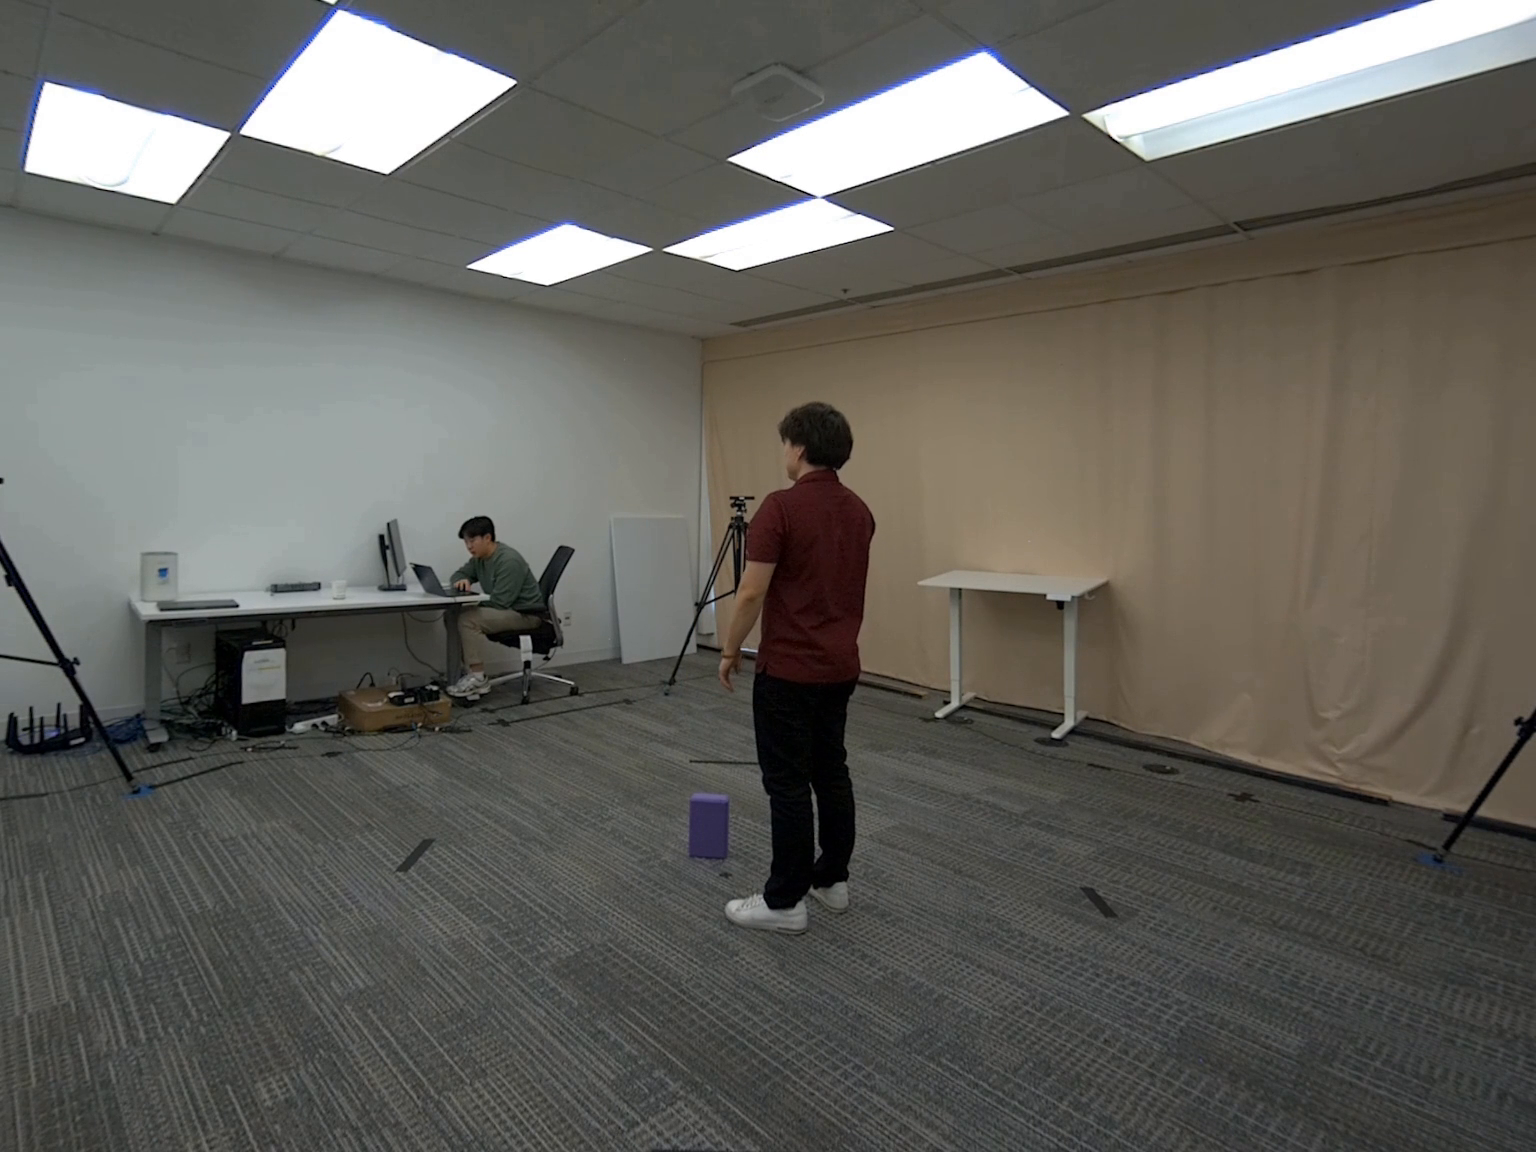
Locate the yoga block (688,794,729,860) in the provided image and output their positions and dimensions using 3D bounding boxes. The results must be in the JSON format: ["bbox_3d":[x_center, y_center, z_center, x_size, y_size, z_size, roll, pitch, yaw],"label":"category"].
[{"bbox_3d":[-0.238,0.975,3.272,0.150,0.228,0.076,2,4,7],"label":"yoga block"}]
